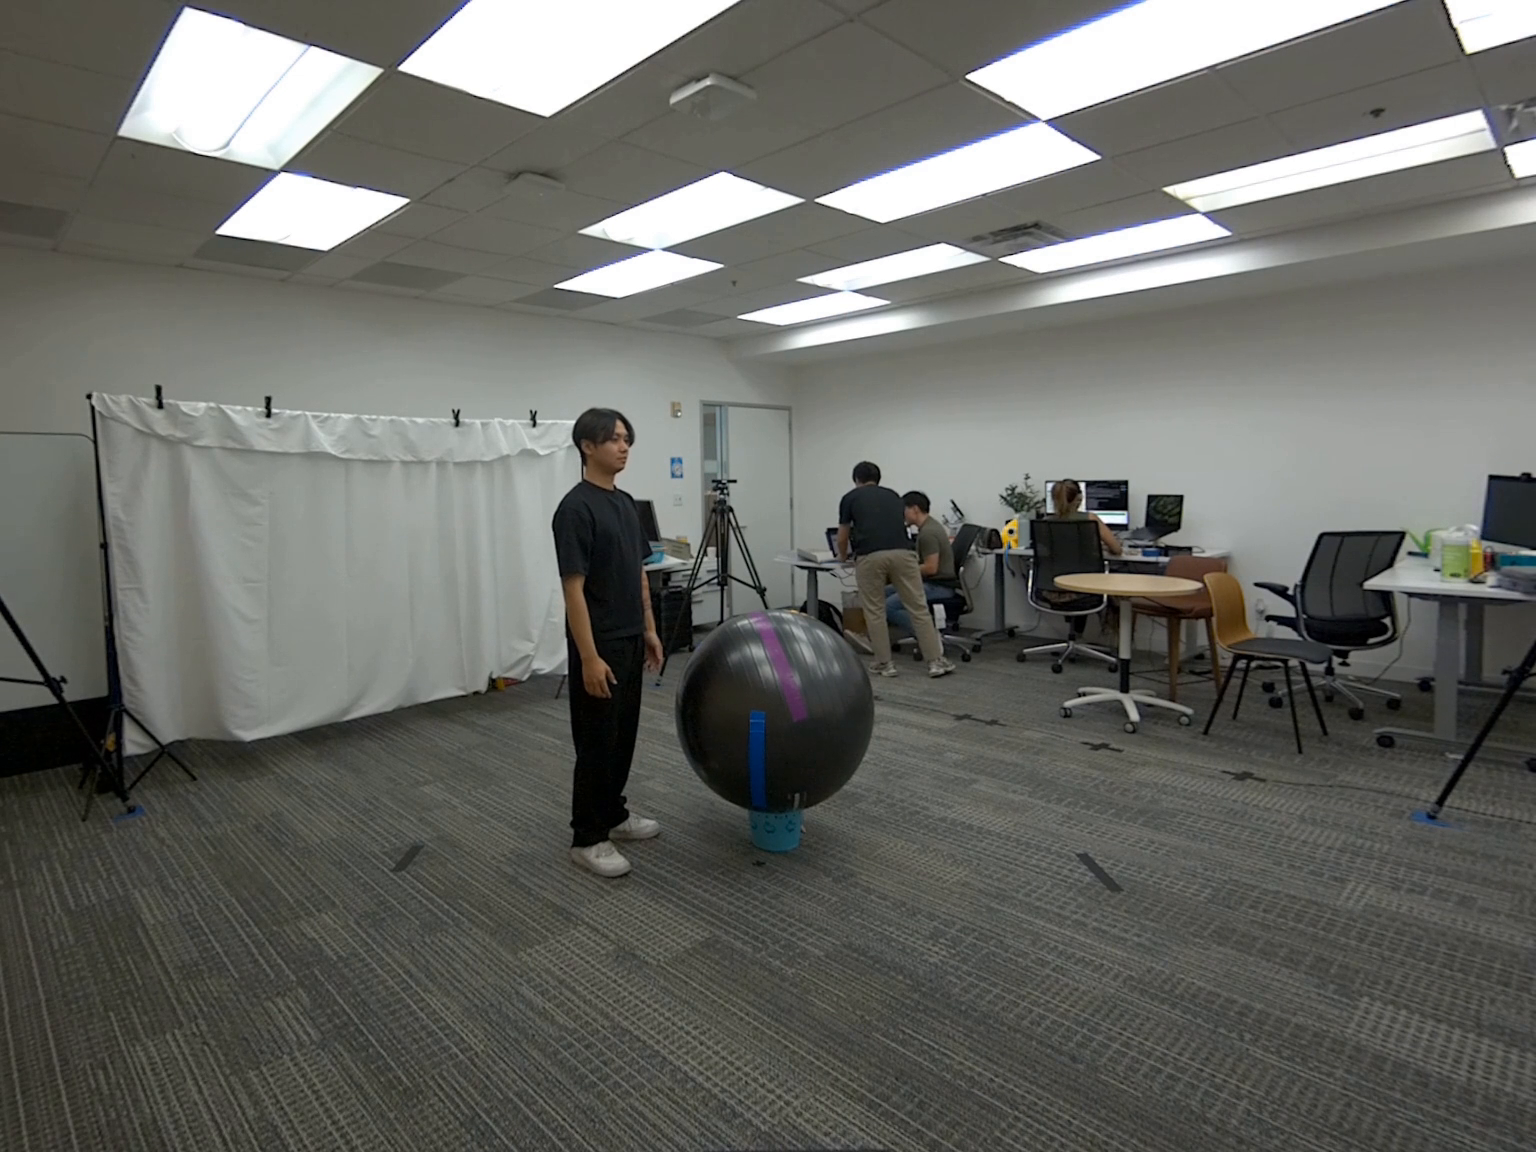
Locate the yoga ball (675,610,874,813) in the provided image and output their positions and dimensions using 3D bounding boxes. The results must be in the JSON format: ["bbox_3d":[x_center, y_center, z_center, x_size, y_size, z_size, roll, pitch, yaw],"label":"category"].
[{"bbox_3d":[0.033,0.514,3.282,0.757,0.755,0.762,-1,5,-2],"label":"yoga ball"}]
